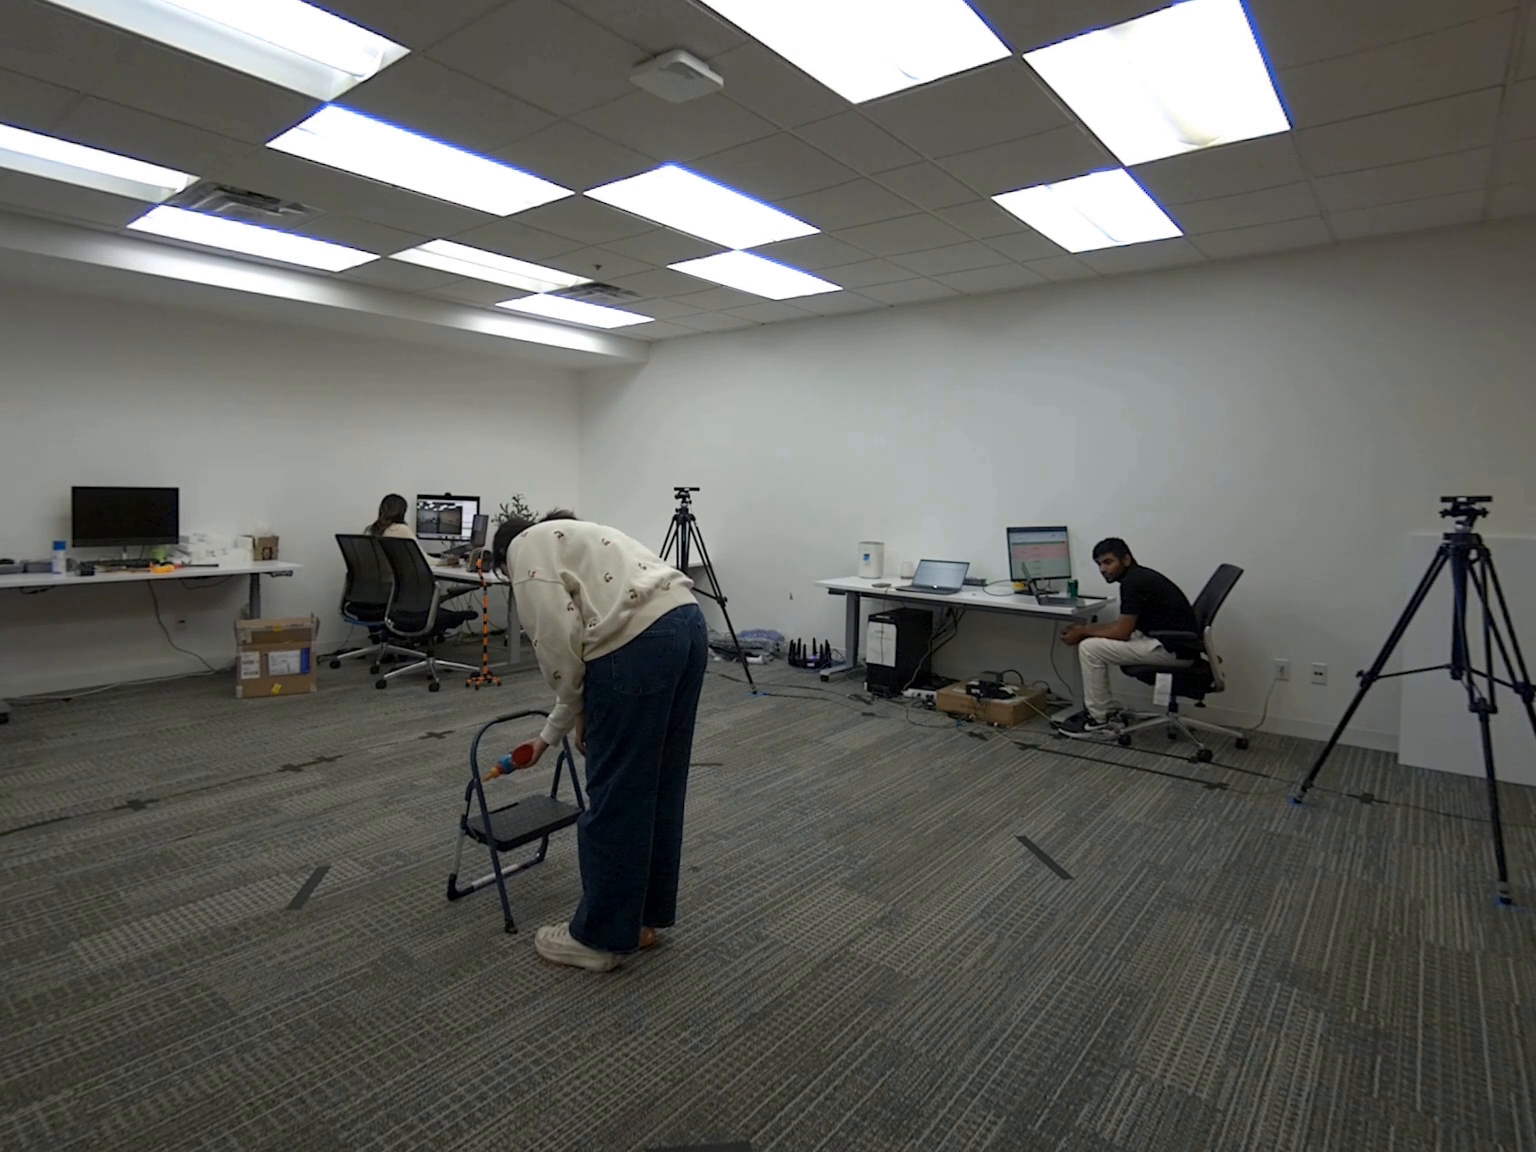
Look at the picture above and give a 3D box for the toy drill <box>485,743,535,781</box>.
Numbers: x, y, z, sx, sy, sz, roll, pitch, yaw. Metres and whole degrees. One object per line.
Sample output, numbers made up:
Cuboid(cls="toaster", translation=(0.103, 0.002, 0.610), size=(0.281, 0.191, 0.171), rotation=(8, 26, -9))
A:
Cuboid(cls="toy drill", translation=(-0.854, 0.609, 2.762), size=(0.167, 0.061, 0.147), rotation=(-29, -4, -37))
